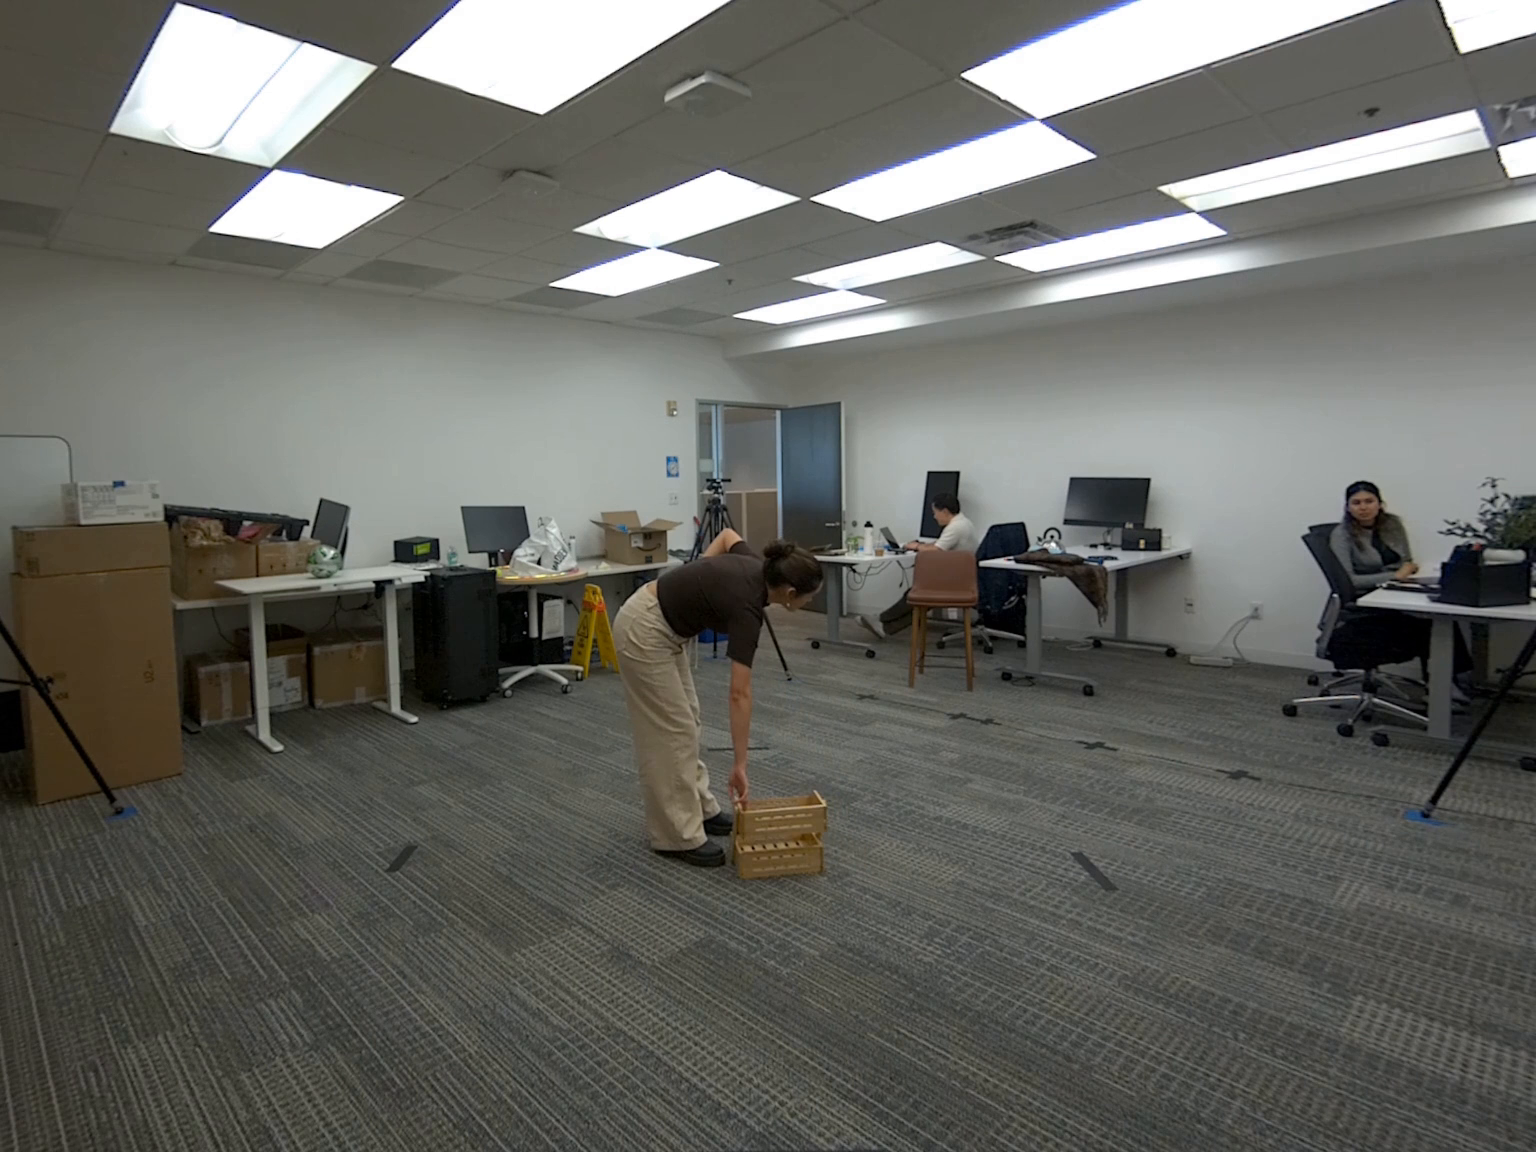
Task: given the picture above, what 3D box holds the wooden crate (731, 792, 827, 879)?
[{"bbox_3d":[0.034,0.910,3.097,0.321,0.272,0.306,-2,6,-10],"label":"wooden crate"}]
